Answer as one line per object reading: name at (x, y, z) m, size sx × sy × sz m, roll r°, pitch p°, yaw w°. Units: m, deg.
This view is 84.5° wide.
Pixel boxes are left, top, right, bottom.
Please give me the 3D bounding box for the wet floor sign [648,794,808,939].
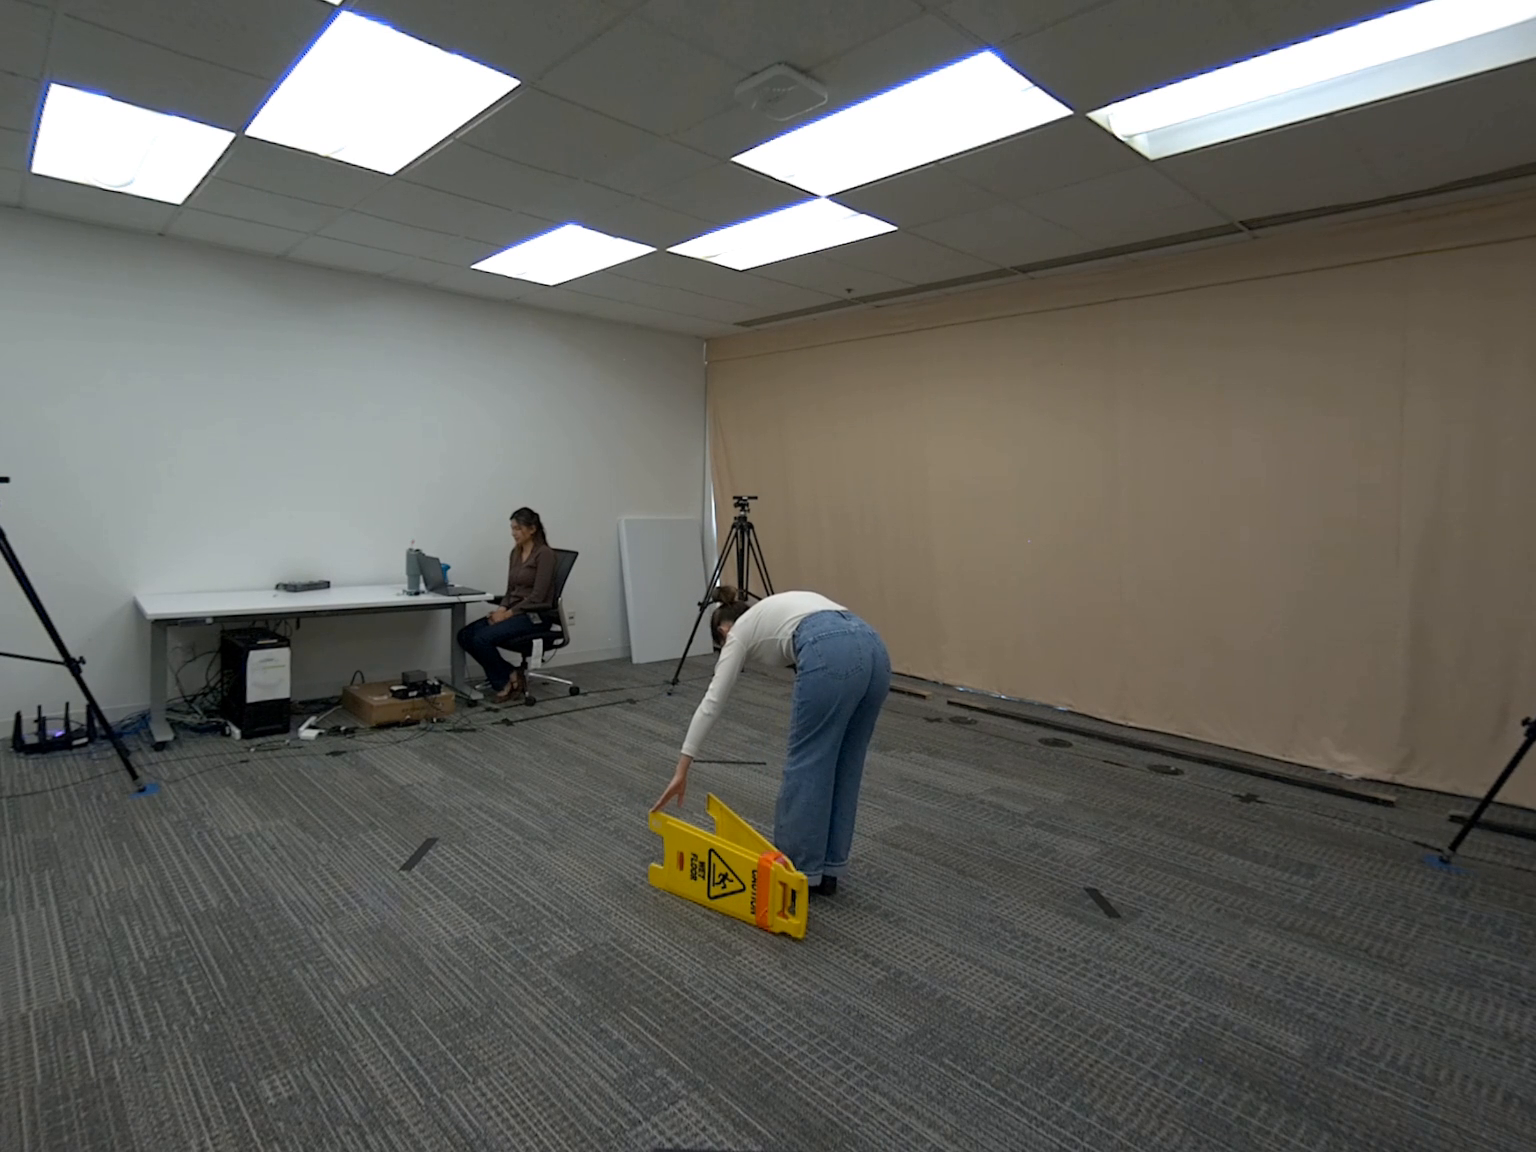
wet floor sign at (-0.108, 0.996, 2.854) m, size 0.283 × 0.281 × 0.663 m, roll -5°, pitch 9°, yaw -42°
